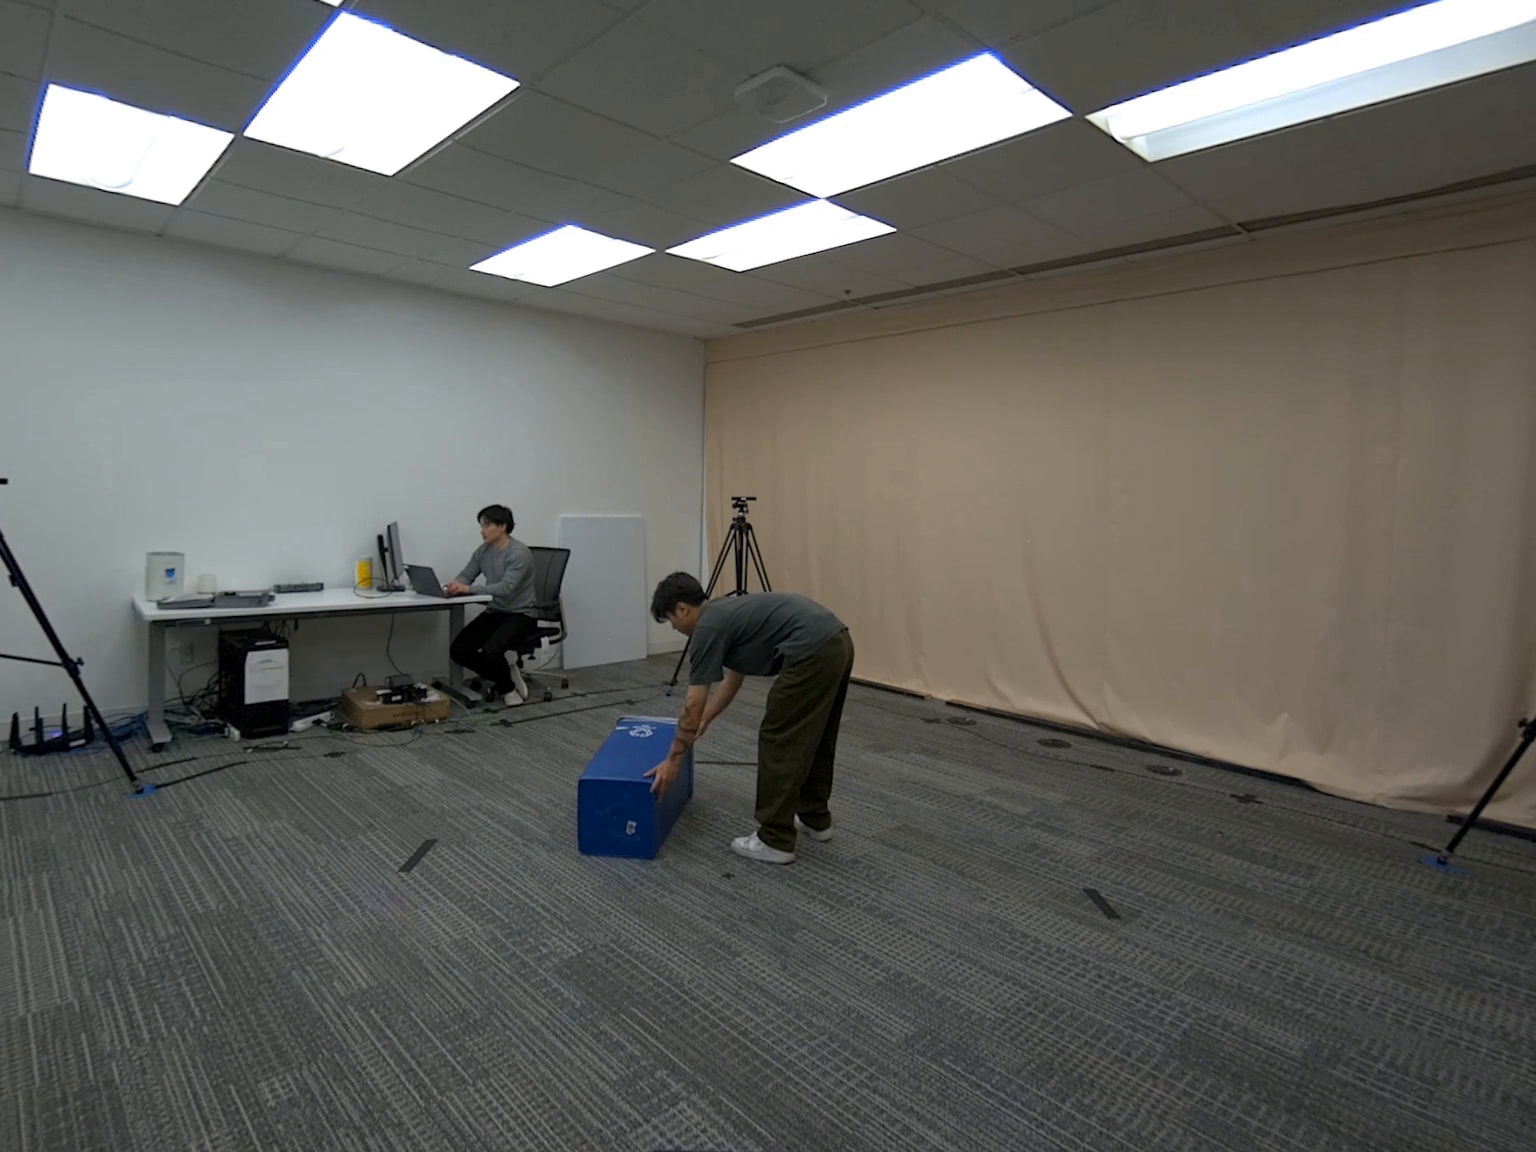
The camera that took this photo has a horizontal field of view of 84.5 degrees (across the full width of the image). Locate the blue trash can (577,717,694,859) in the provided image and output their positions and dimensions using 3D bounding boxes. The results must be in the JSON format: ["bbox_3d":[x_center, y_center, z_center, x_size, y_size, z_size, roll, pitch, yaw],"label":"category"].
[{"bbox_3d":[-0.562,0.882,3.580,0.380,0.372,0.713,1,6,5],"label":"blue trash can"}]
